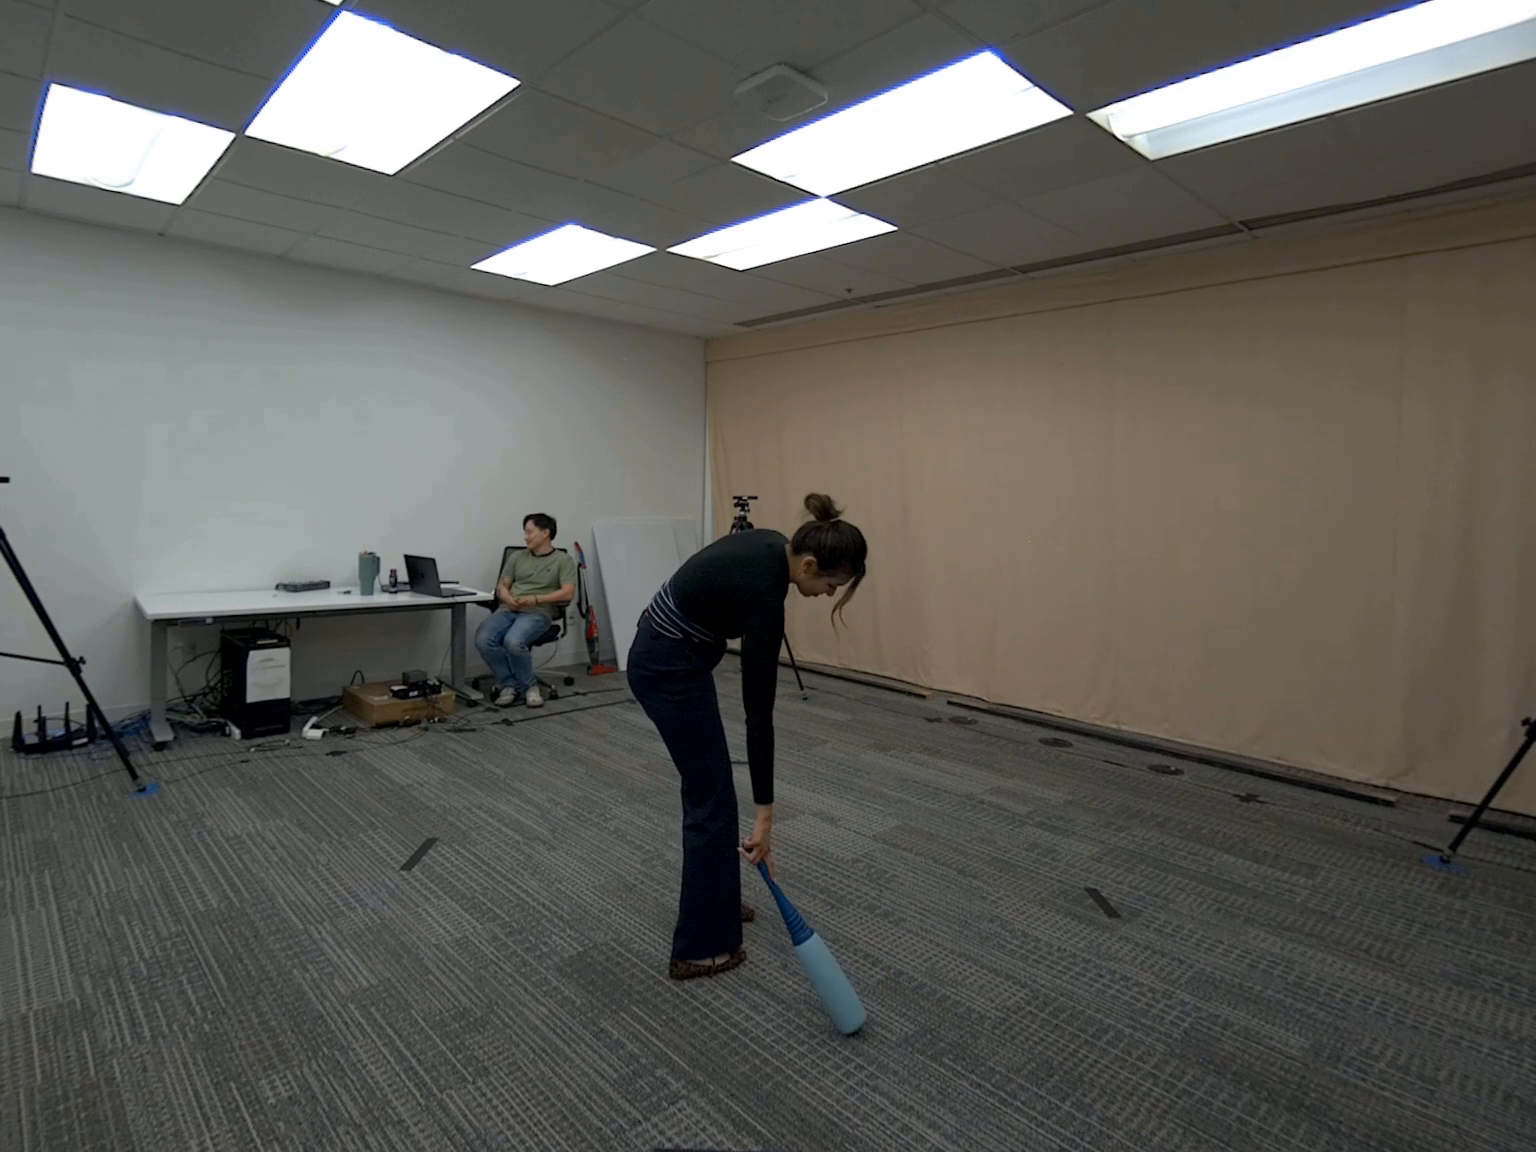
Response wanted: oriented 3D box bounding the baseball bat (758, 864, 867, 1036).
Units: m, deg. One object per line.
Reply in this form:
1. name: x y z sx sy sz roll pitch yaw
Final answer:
1. baseball bat: 0.083 0.959 2.256 0.089 0.548 0.088 -31 -9 -6
